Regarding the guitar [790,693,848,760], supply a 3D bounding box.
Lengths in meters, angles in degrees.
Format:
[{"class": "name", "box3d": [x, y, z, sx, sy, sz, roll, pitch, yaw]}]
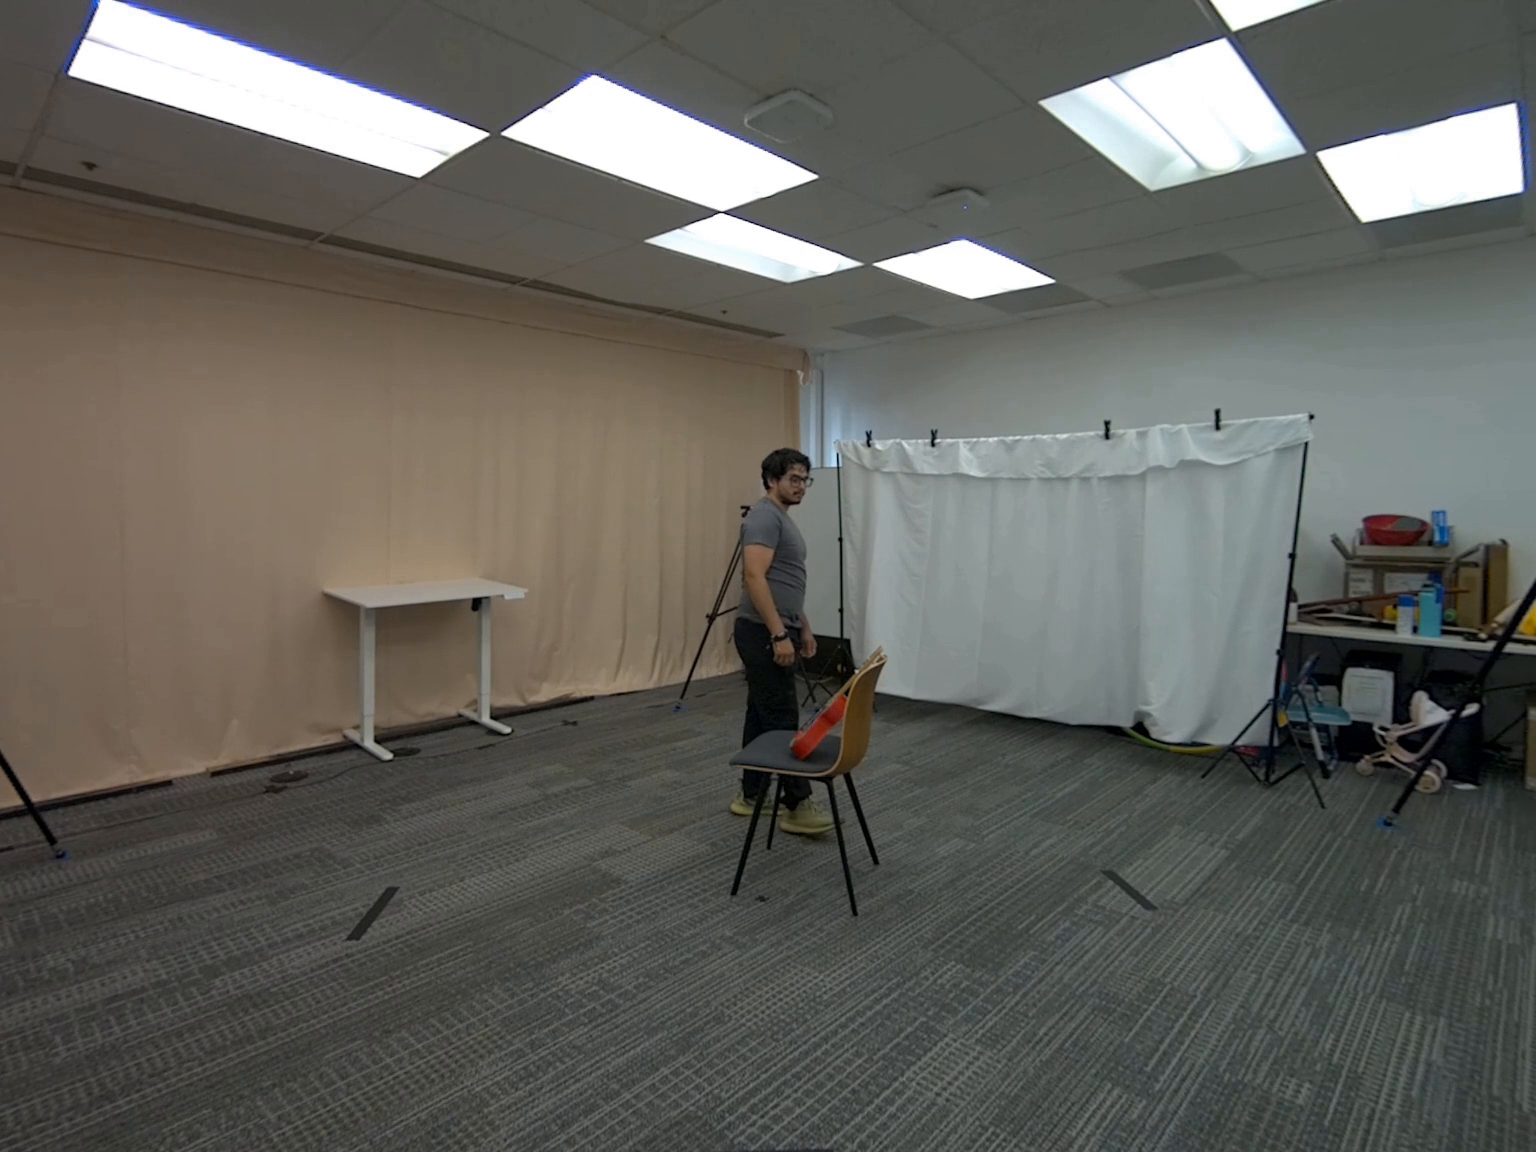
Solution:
[{"class": "guitar", "box3d": [0.254, 0.458, 3.032, 0.071, 0.499, 0.191, 43, 15, 2]}]
